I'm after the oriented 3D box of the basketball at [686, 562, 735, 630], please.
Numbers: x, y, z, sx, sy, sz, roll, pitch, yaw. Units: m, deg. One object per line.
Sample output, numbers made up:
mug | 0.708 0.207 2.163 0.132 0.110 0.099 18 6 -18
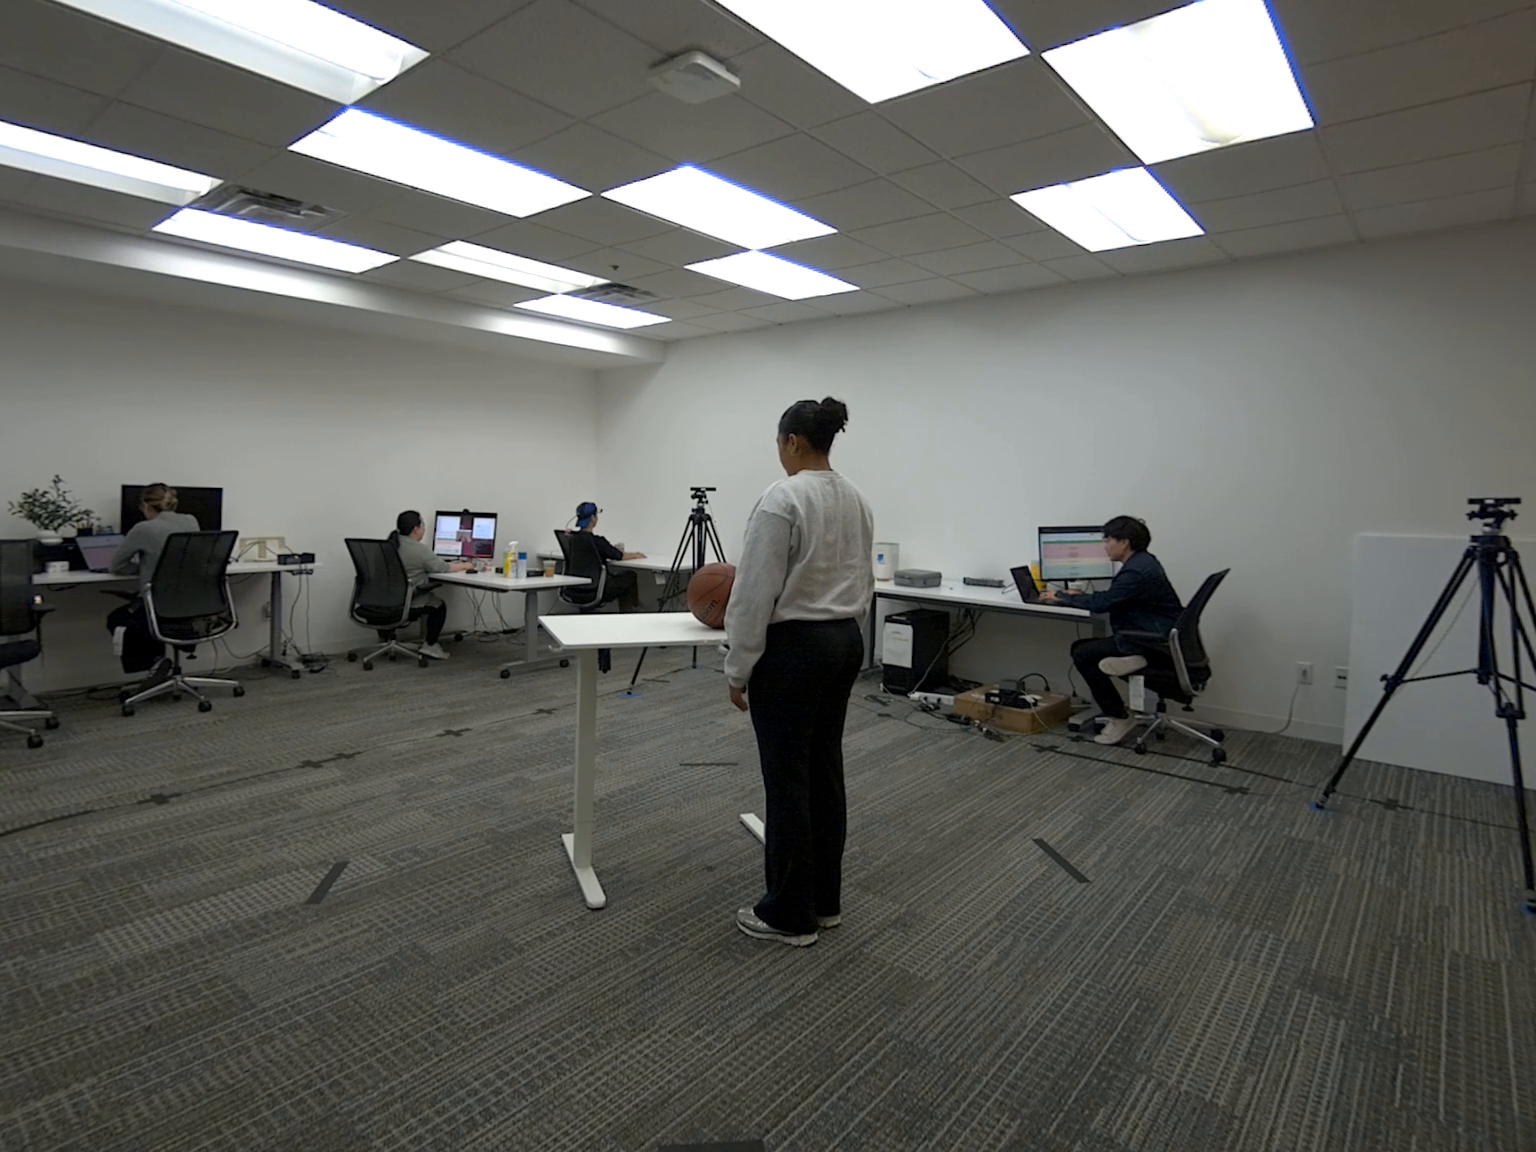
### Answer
basketball | -0.189 0.067 3.098 0.235 0.235 0.237 1 4 -2
